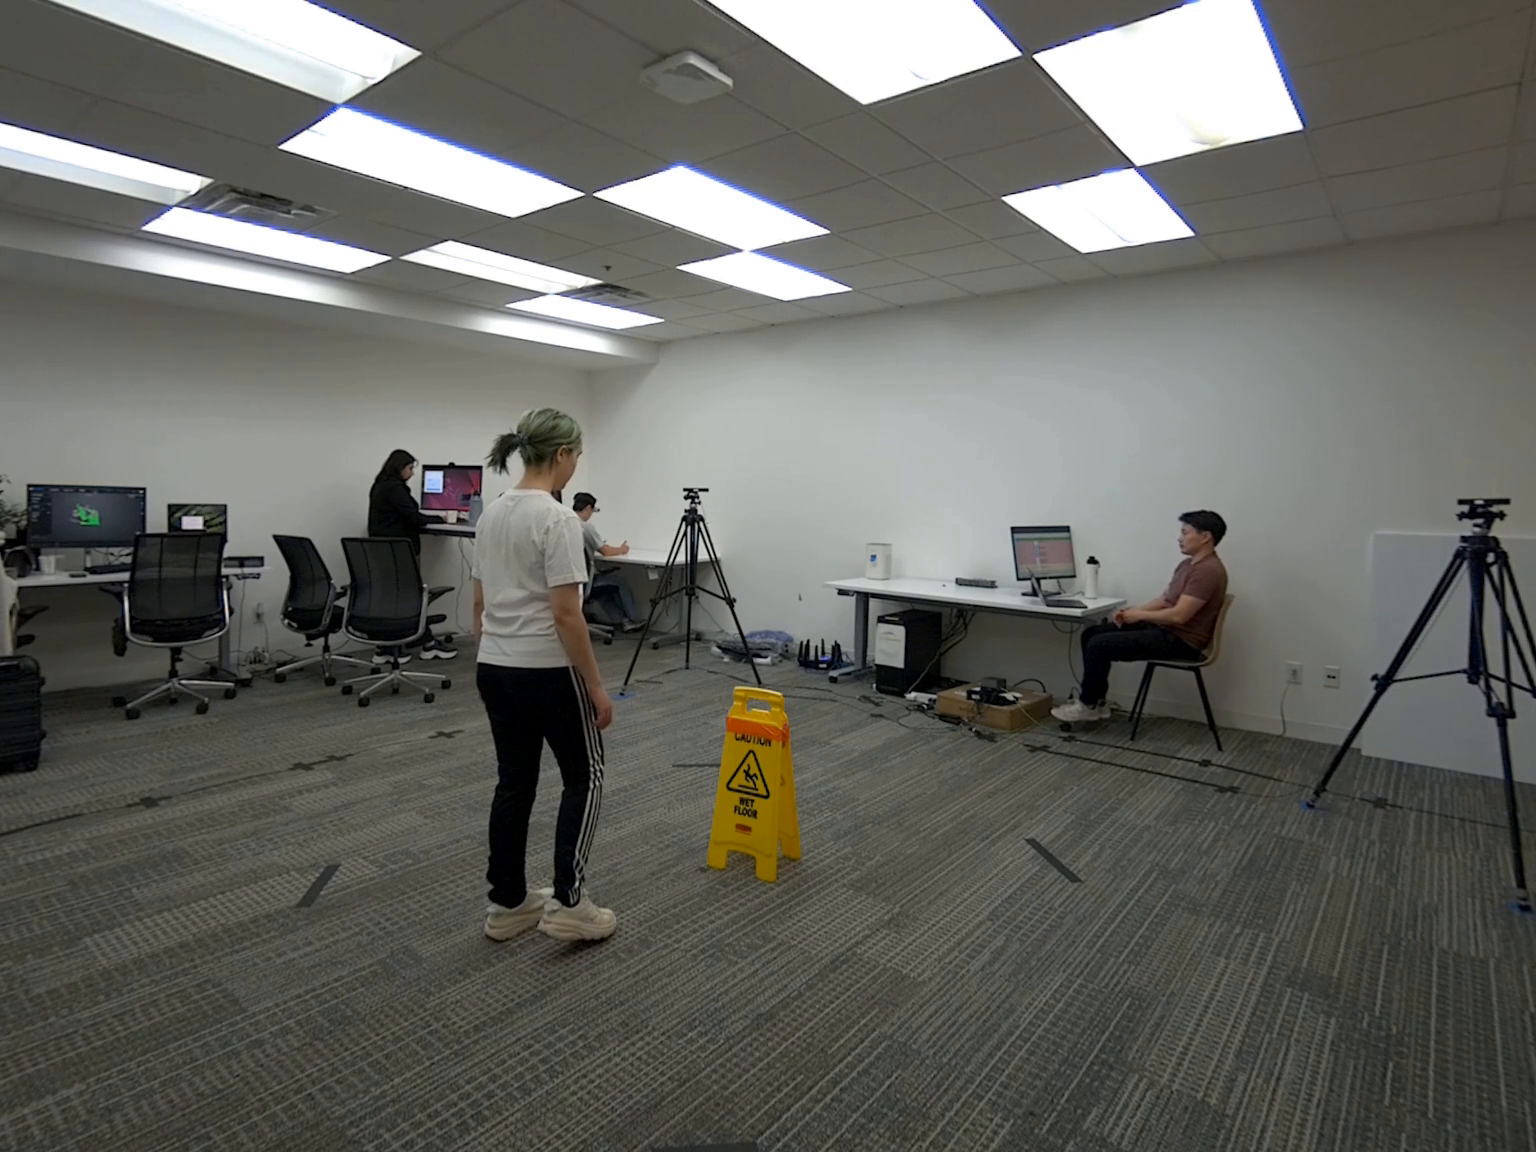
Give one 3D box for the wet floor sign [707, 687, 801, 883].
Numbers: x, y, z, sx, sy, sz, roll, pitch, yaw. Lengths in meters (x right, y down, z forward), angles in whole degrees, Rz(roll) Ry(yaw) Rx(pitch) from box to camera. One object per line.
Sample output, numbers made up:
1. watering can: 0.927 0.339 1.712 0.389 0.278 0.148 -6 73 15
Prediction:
1. wet floor sign: -0.052 0.740 3.167 0.290 0.645 0.282 3 3 27
